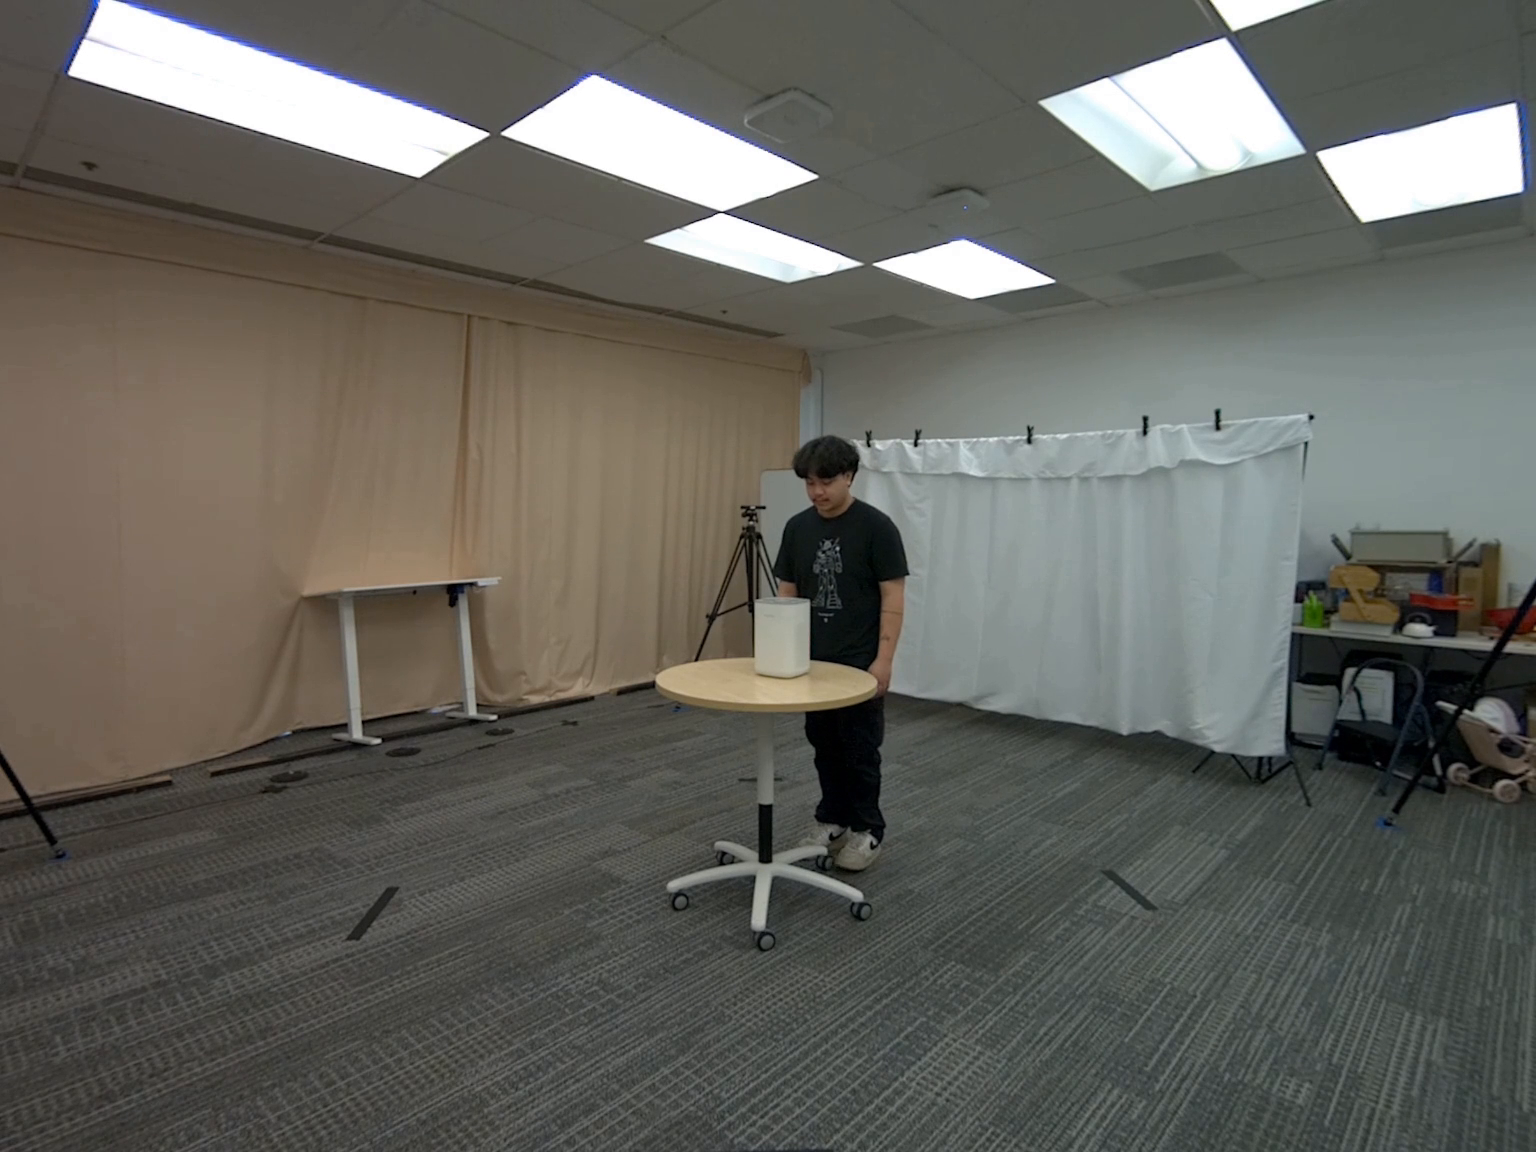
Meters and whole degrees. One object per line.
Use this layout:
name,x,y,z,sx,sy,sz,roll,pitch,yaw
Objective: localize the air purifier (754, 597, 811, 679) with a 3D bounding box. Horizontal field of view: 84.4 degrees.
air purifier,0.053,0.215,2.987,0.176,0.265,0.167,2,5,31
